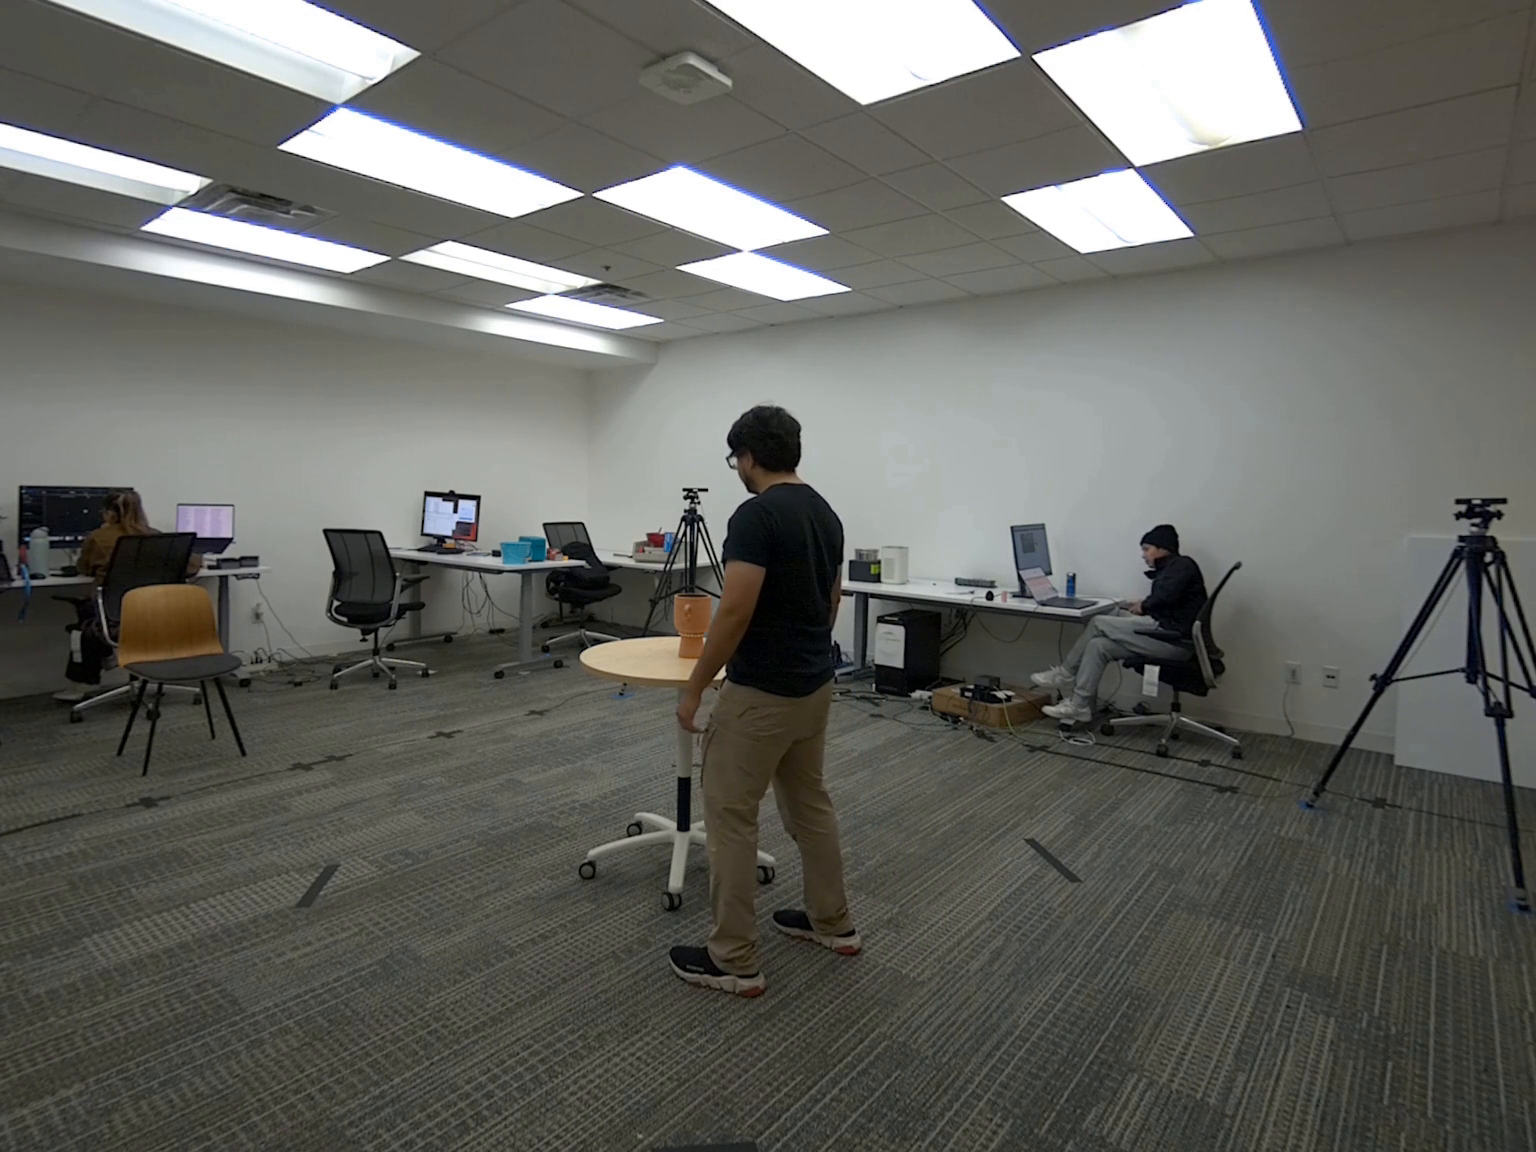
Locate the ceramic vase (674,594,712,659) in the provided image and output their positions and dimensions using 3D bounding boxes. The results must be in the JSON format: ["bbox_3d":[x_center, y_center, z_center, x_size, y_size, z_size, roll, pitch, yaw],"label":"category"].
[{"bbox_3d":[-0.287,0.178,3.076,0.154,0.219,0.139,-1,4,-40],"label":"ceramic vase"}]
